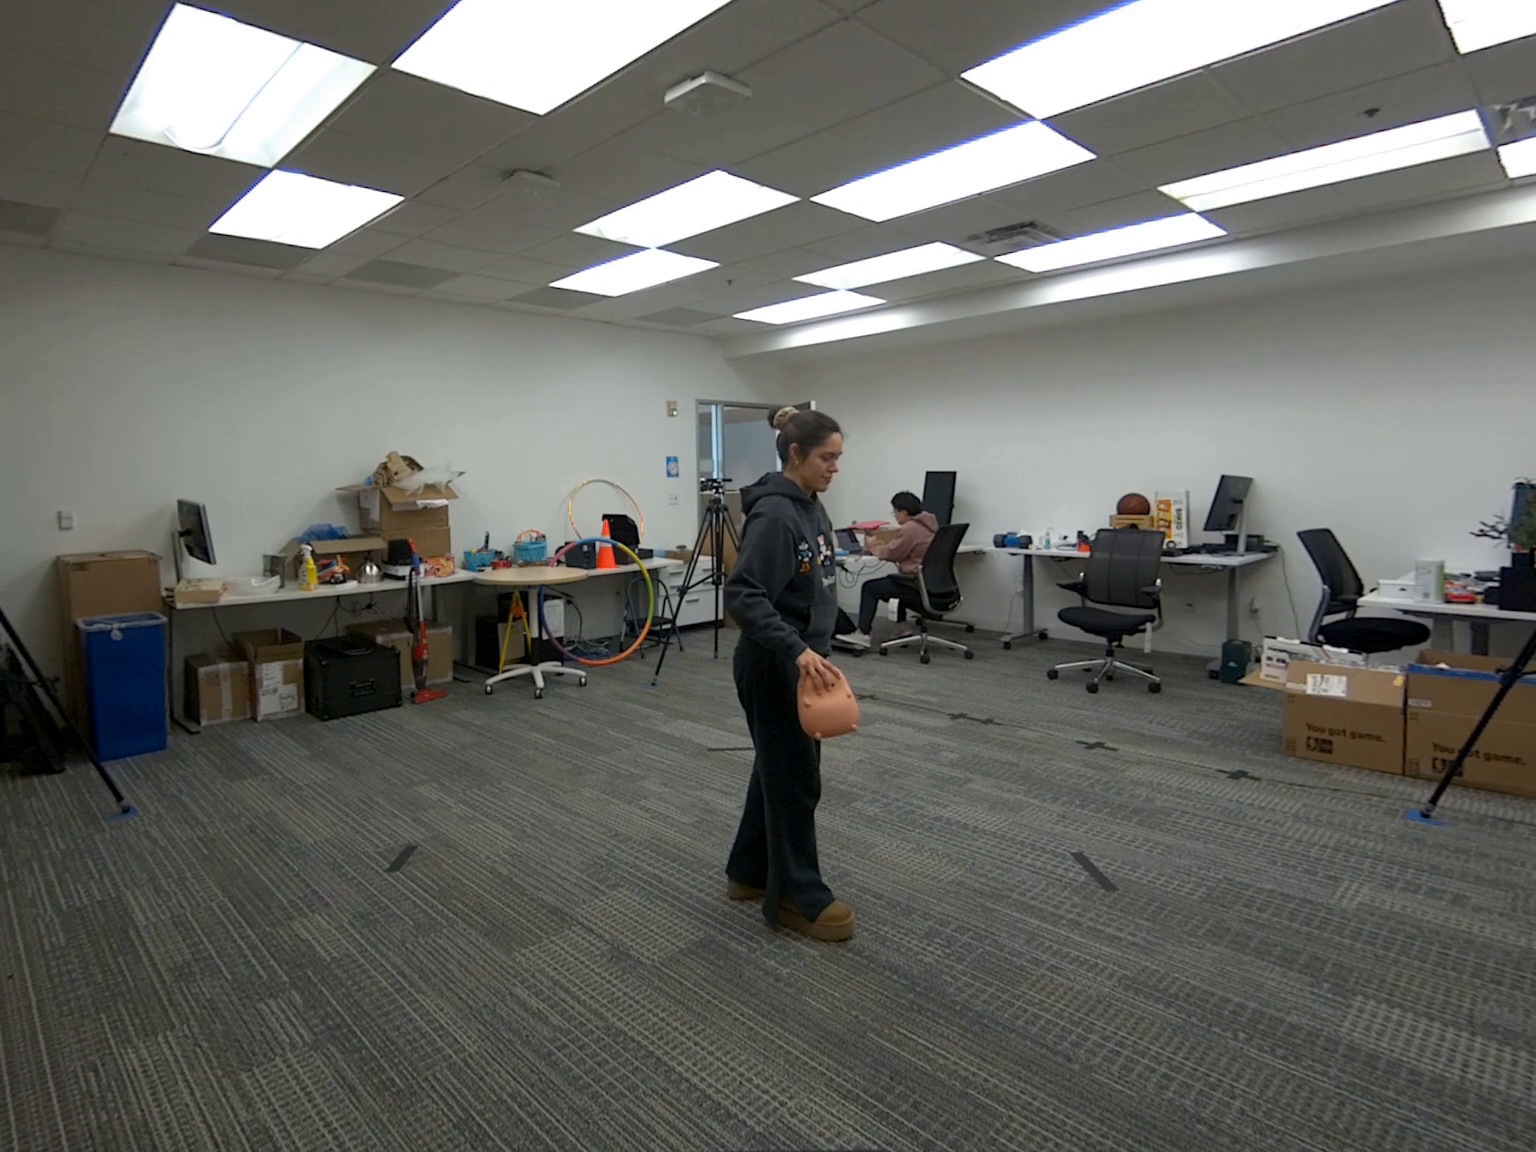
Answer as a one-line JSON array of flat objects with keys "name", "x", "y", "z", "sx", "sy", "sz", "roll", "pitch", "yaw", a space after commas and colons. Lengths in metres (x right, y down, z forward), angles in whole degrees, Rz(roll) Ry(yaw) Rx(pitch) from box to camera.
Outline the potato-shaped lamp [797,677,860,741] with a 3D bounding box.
[{"name": "potato-shaped lamp", "x": 0.167, "y": 0.342, "z": 2.375, "sx": 0.164, "sy": 0.199, "sz": 0.171, "roll": -13, "pitch": -6, "yaw": -5}]
